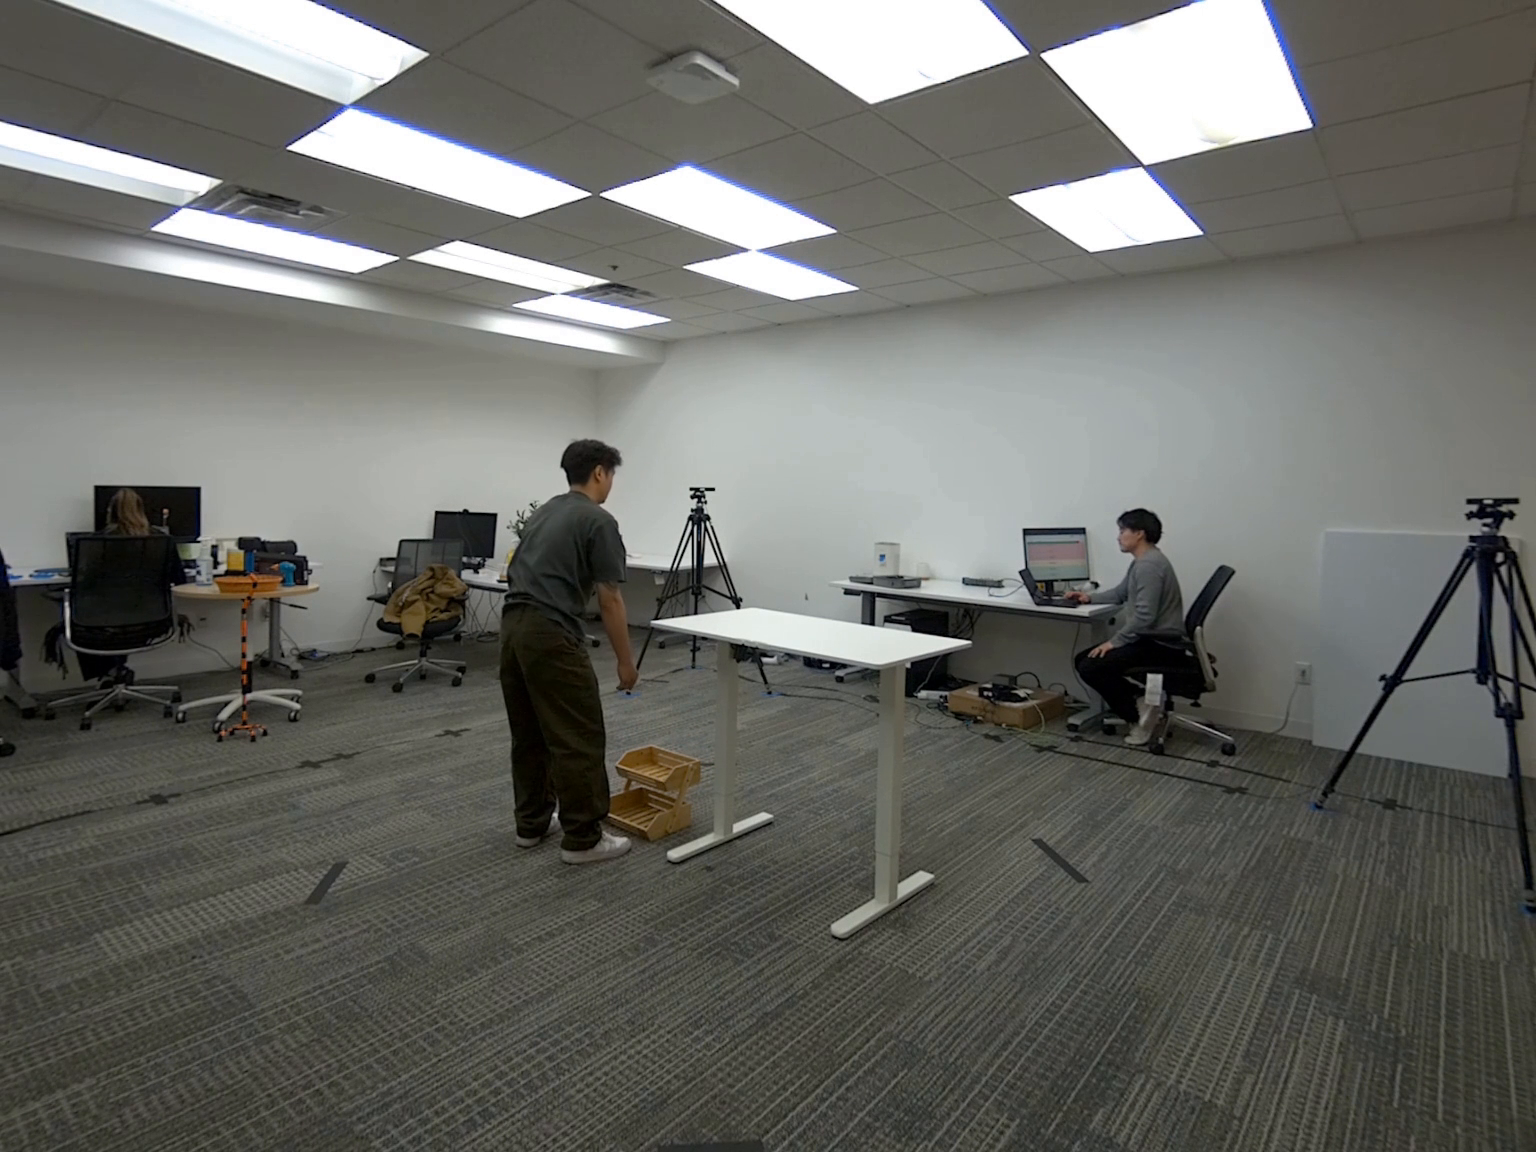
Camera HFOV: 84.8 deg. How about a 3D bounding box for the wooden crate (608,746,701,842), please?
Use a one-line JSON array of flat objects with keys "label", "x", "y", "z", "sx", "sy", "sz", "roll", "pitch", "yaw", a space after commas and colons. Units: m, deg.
[{"label": "wooden crate", "x": -0.511, "y": 0.884, "z": 3.529, "sx": 0.335, "sy": 0.272, "sz": 0.293, "roll": 4, "pitch": 5, "yaw": 41}]
